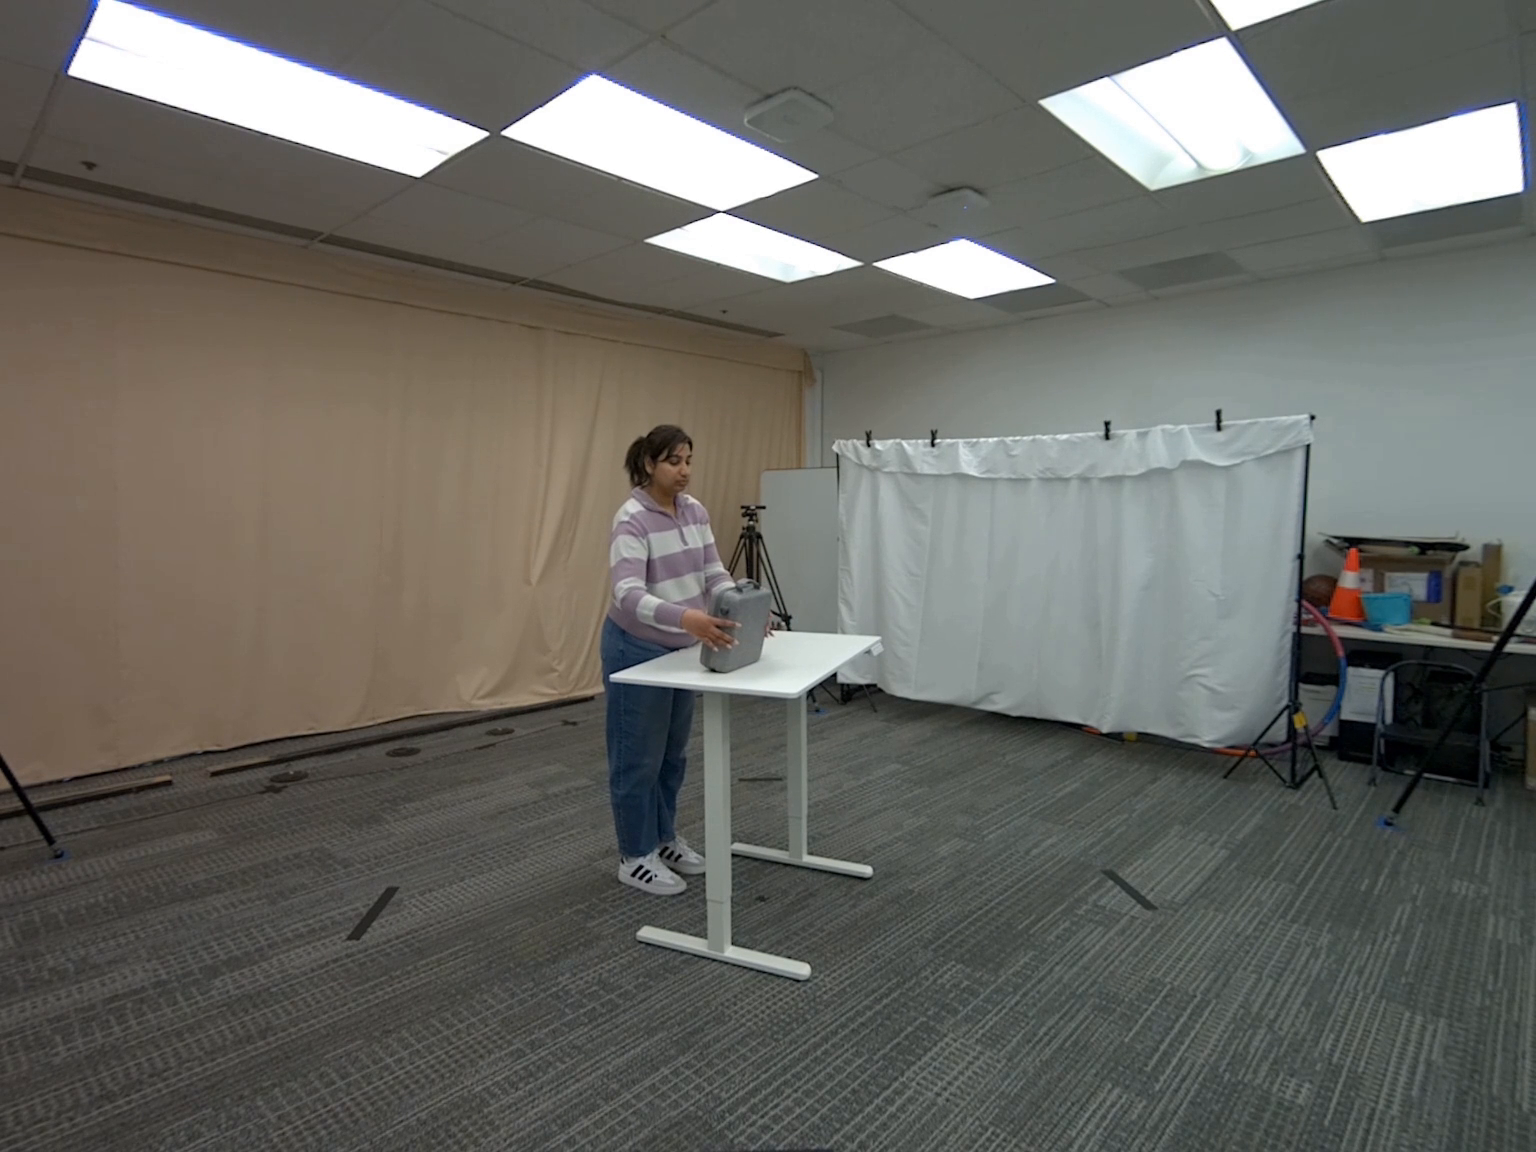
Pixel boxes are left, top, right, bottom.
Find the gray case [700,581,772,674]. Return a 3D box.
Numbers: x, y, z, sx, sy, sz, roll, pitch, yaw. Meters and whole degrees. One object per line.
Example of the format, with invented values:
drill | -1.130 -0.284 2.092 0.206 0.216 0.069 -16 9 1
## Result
gray case | -0.092 0.158 2.667 0.107 0.259 0.250 15 12 26
